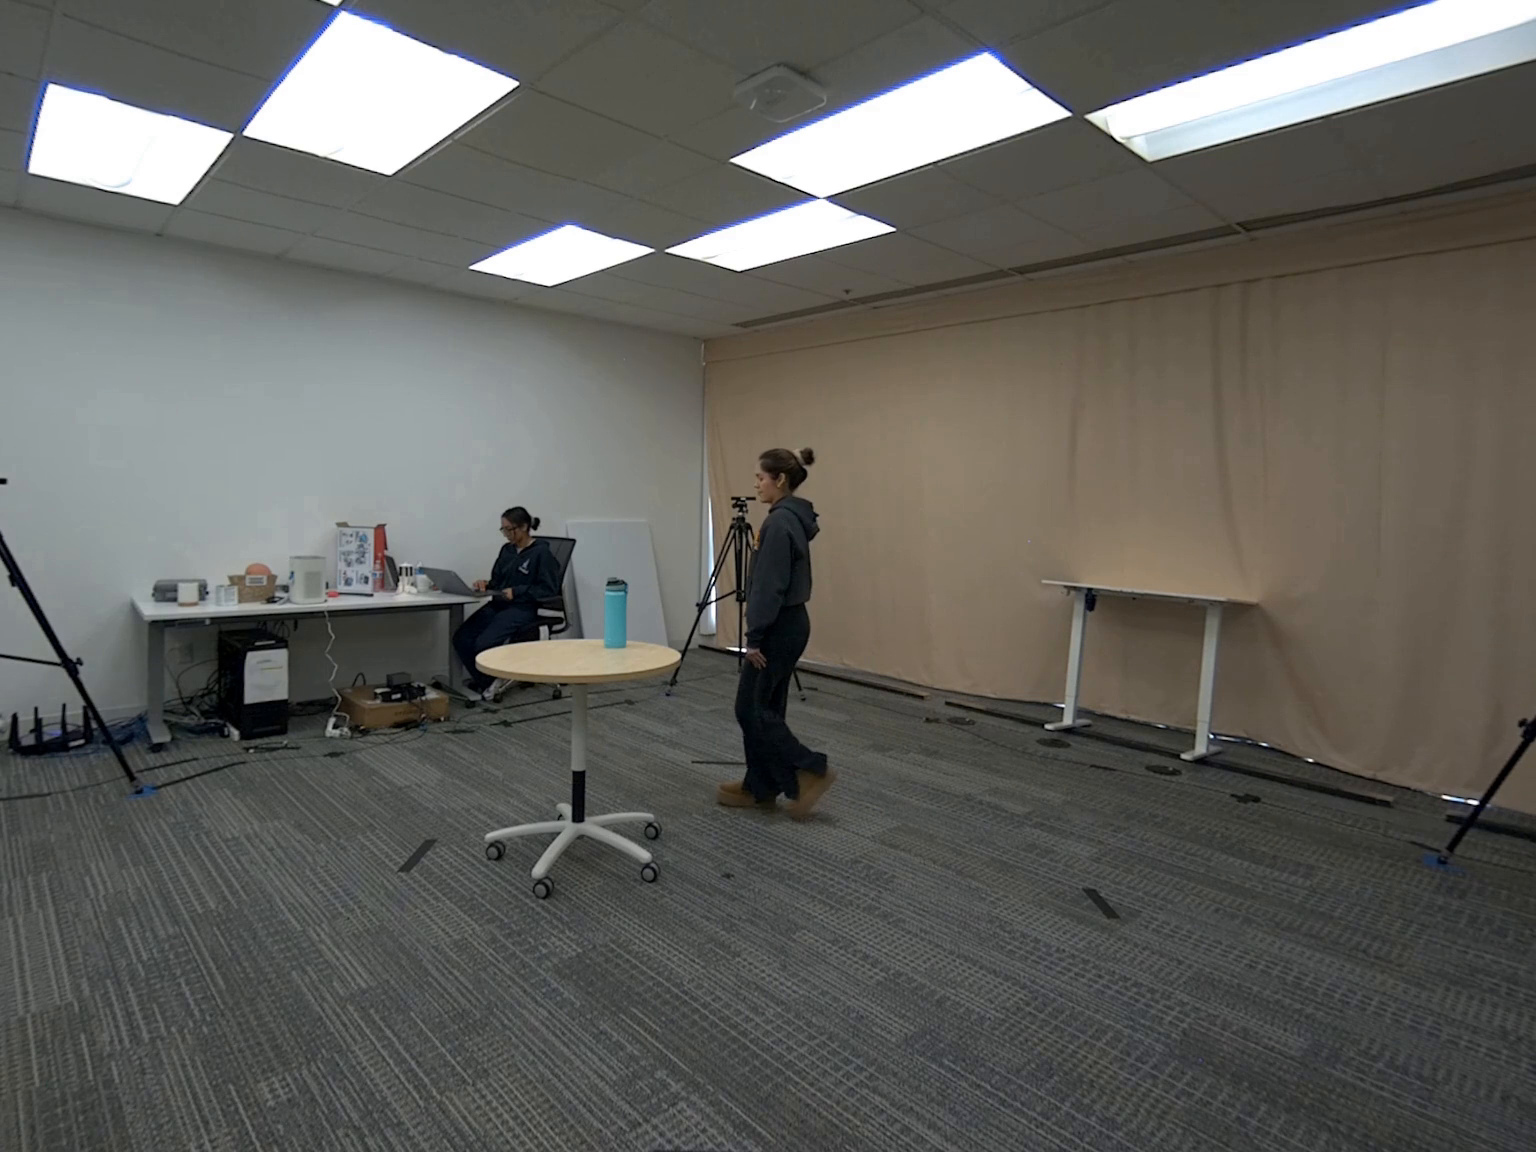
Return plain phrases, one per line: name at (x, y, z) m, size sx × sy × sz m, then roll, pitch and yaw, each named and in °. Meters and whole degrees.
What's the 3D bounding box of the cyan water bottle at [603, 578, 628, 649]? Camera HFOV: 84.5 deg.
cyan water bottle at (-0.625, 0.147, 3.409) m, size 0.092 × 0.283 × 0.092 m, roll 2°, pitch 1°, yaw -1°
